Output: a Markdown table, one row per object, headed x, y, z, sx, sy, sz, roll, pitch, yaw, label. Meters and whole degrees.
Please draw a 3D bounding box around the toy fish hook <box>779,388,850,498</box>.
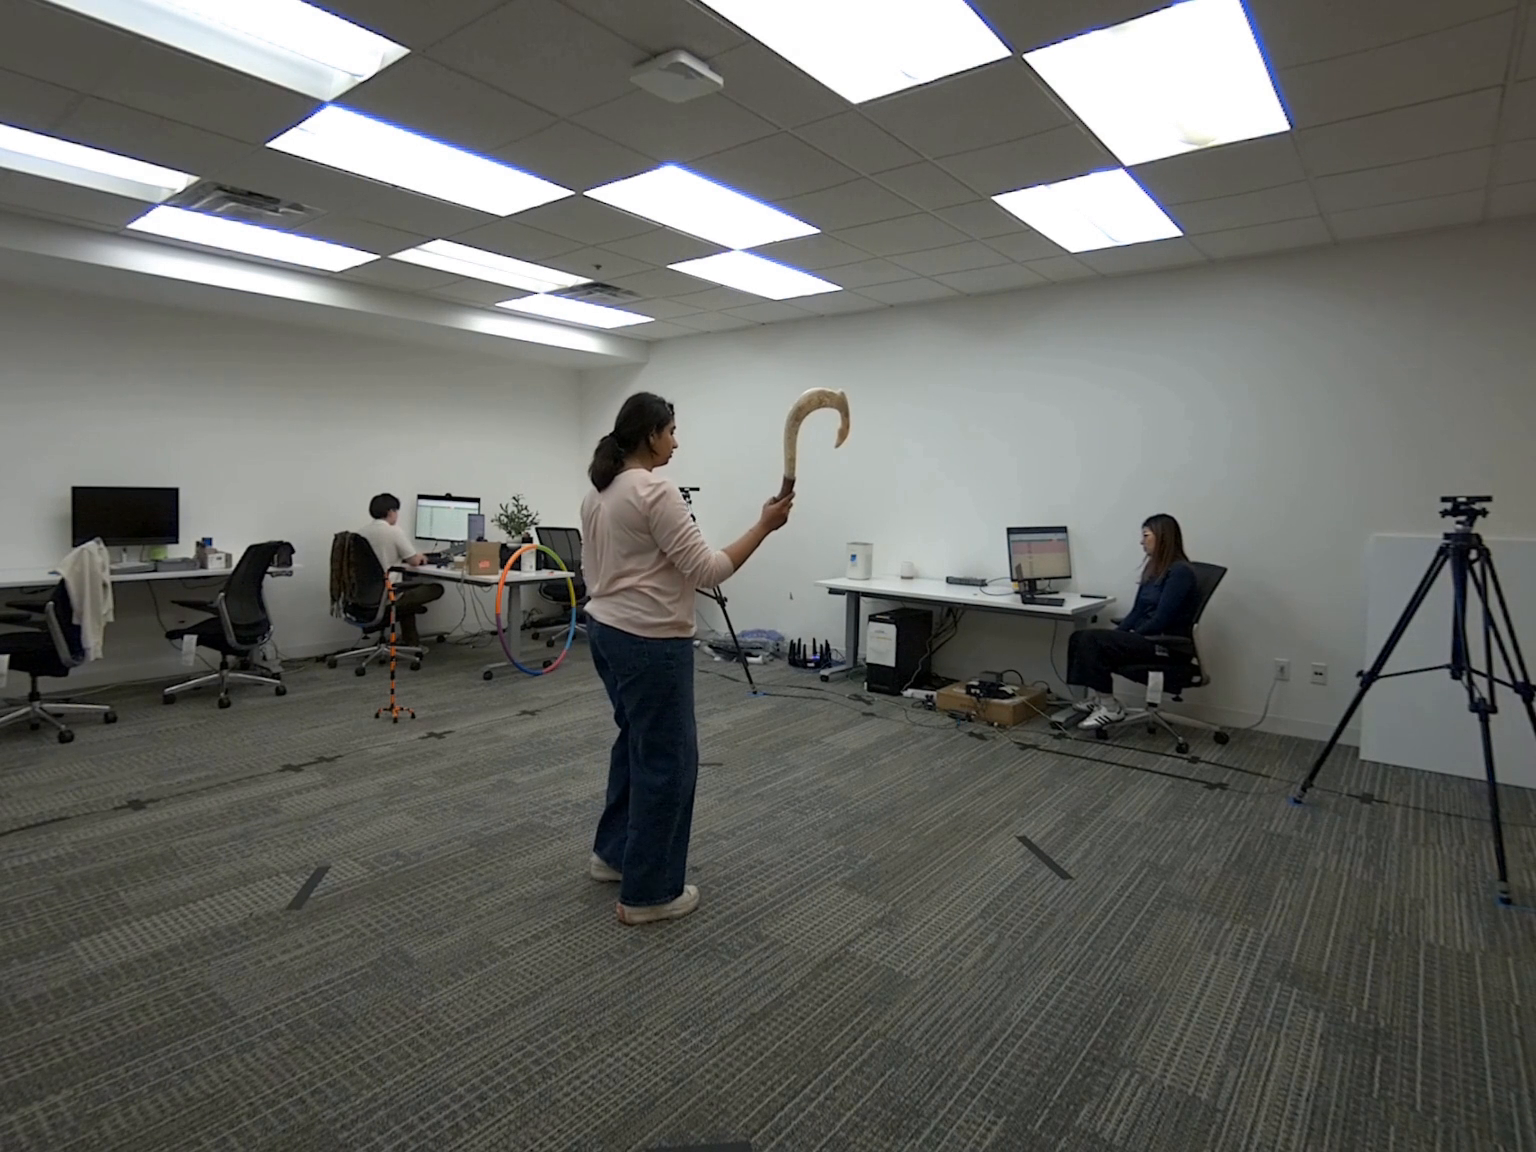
| x | y | z | sx | sy | sz | roll | pitch | yaw | label |
| --- | --- | --- | --- | --- | --- | --- | --- | --- | --- |
| 0.116 | -0.359 | 2.700 | 0.220 | 0.499 | 0.050 | 5 | 29 | -20 | toy fish hook |
